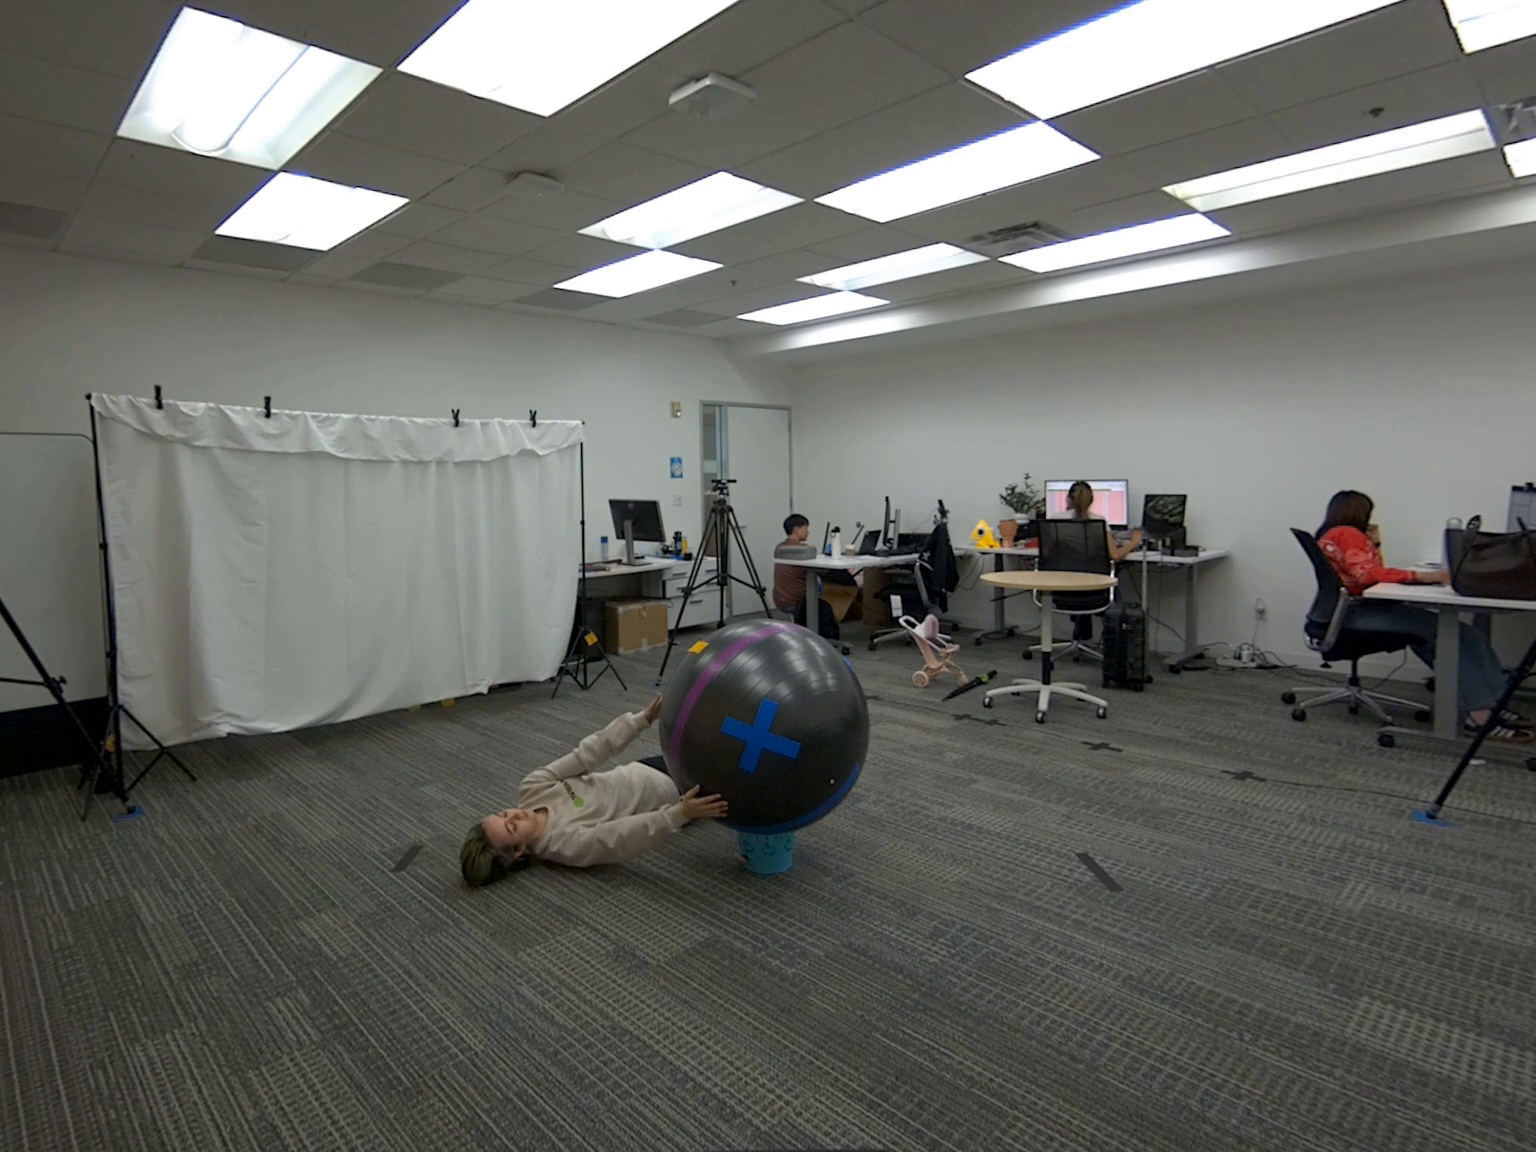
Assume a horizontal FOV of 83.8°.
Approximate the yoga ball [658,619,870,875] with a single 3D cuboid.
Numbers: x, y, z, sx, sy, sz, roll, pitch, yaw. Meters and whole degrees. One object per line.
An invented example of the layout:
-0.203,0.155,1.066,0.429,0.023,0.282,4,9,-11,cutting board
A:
-0.015,0.536,3.088,0.757,0.755,0.762,-1,5,-2,yoga ball
